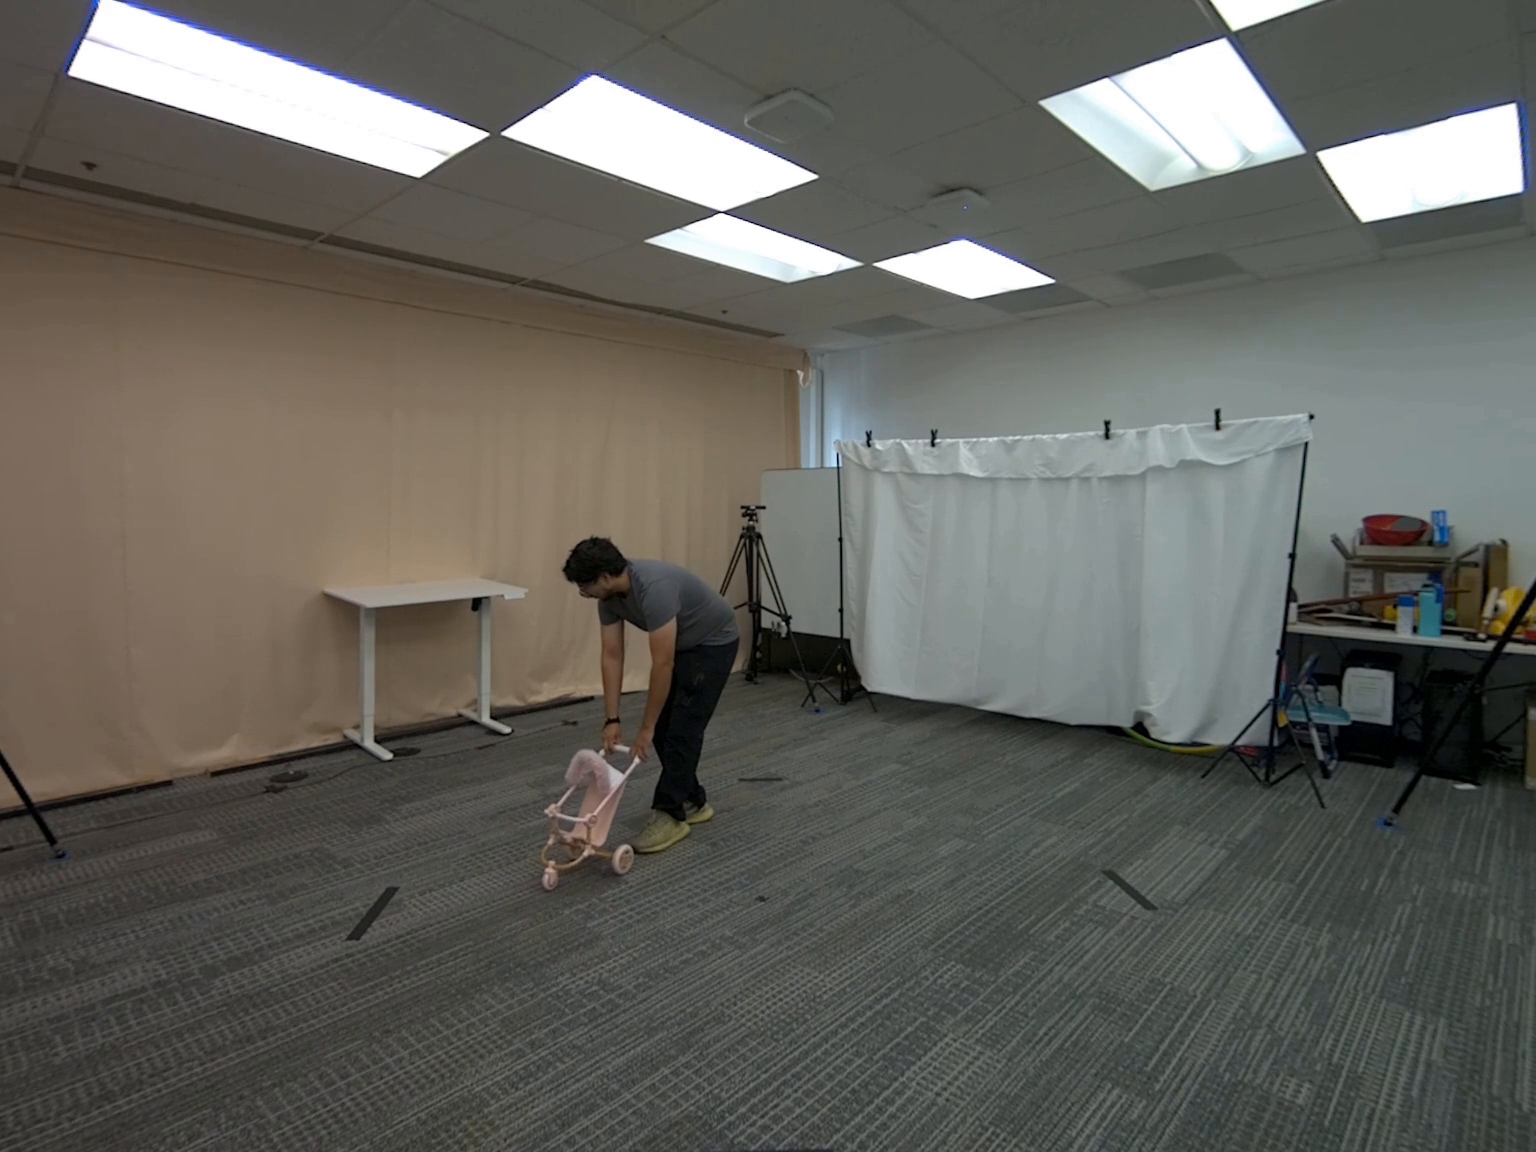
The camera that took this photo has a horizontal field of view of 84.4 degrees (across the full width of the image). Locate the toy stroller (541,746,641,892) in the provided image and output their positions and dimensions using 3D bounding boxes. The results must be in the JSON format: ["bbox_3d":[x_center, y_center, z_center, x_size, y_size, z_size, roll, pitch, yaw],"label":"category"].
[{"bbox_3d":[-0.691,0.906,3.210,0.290,0.537,0.329,1,-13,38],"label":"toy stroller"}]
